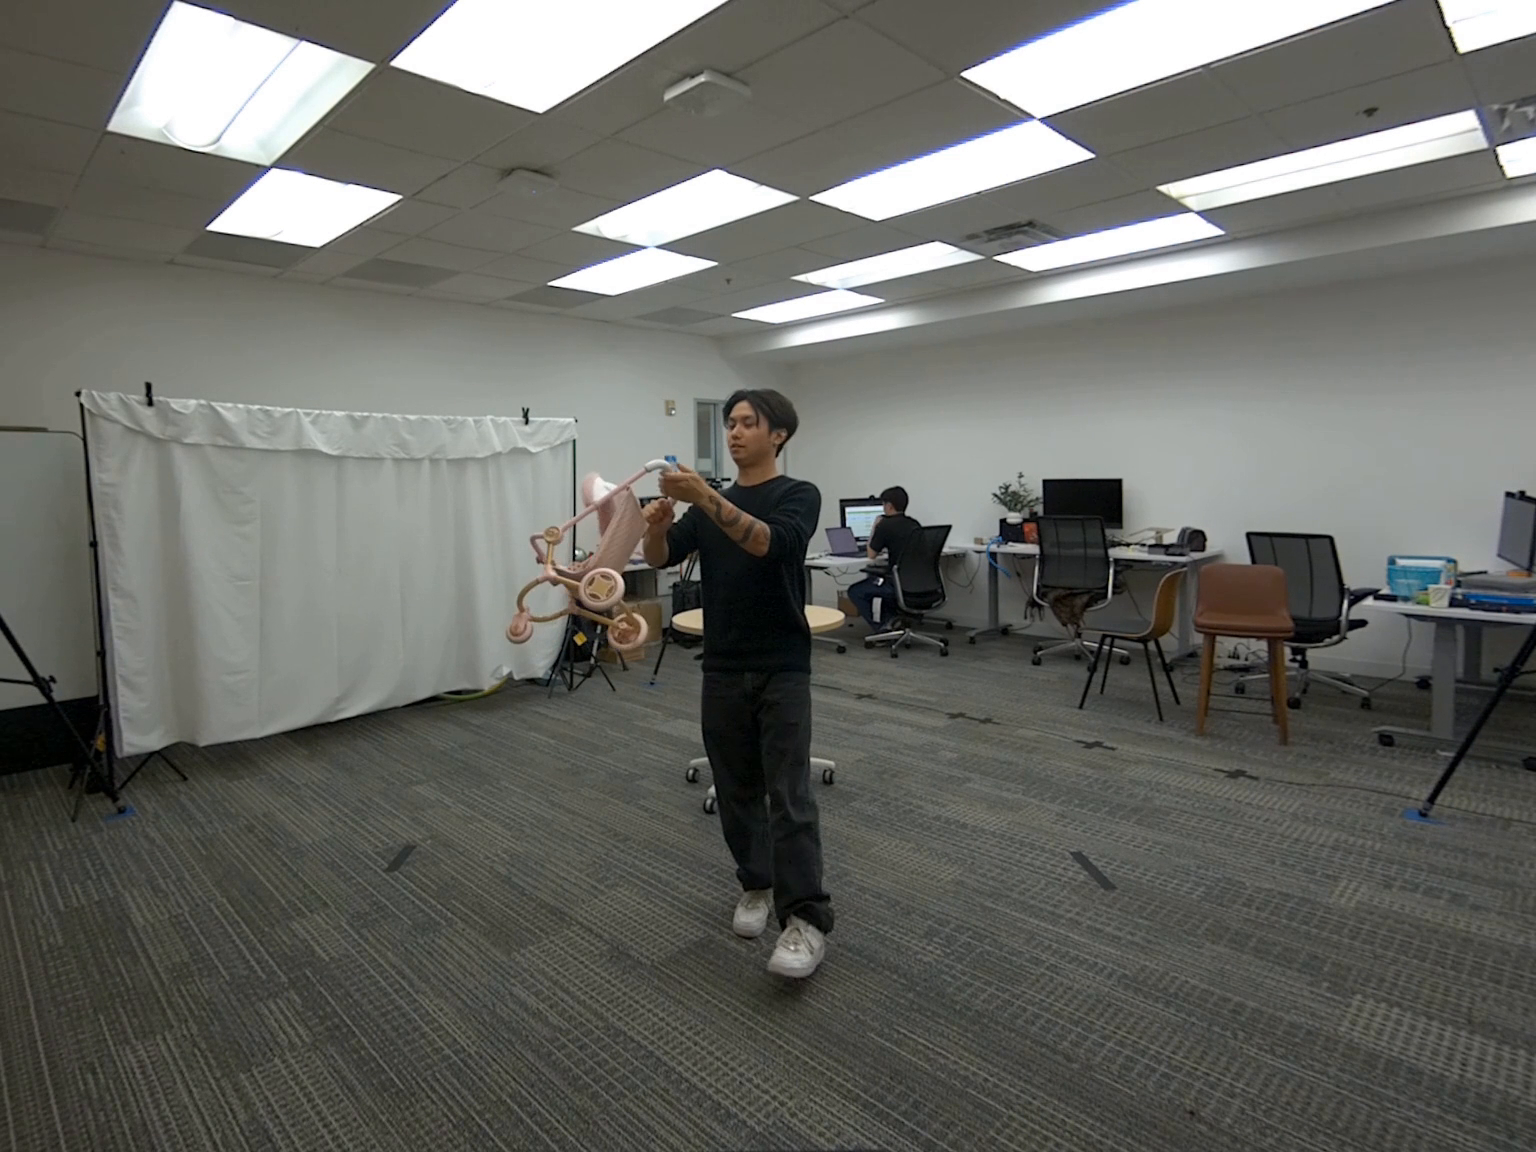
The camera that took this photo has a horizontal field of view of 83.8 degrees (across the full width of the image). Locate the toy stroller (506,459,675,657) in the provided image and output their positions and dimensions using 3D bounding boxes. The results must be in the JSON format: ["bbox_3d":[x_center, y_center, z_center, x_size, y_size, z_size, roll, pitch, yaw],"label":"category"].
[{"bbox_3d":[-0.458,-0.049,2.243,0.347,0.544,0.272,2,-29,17],"label":"toy stroller"}]
